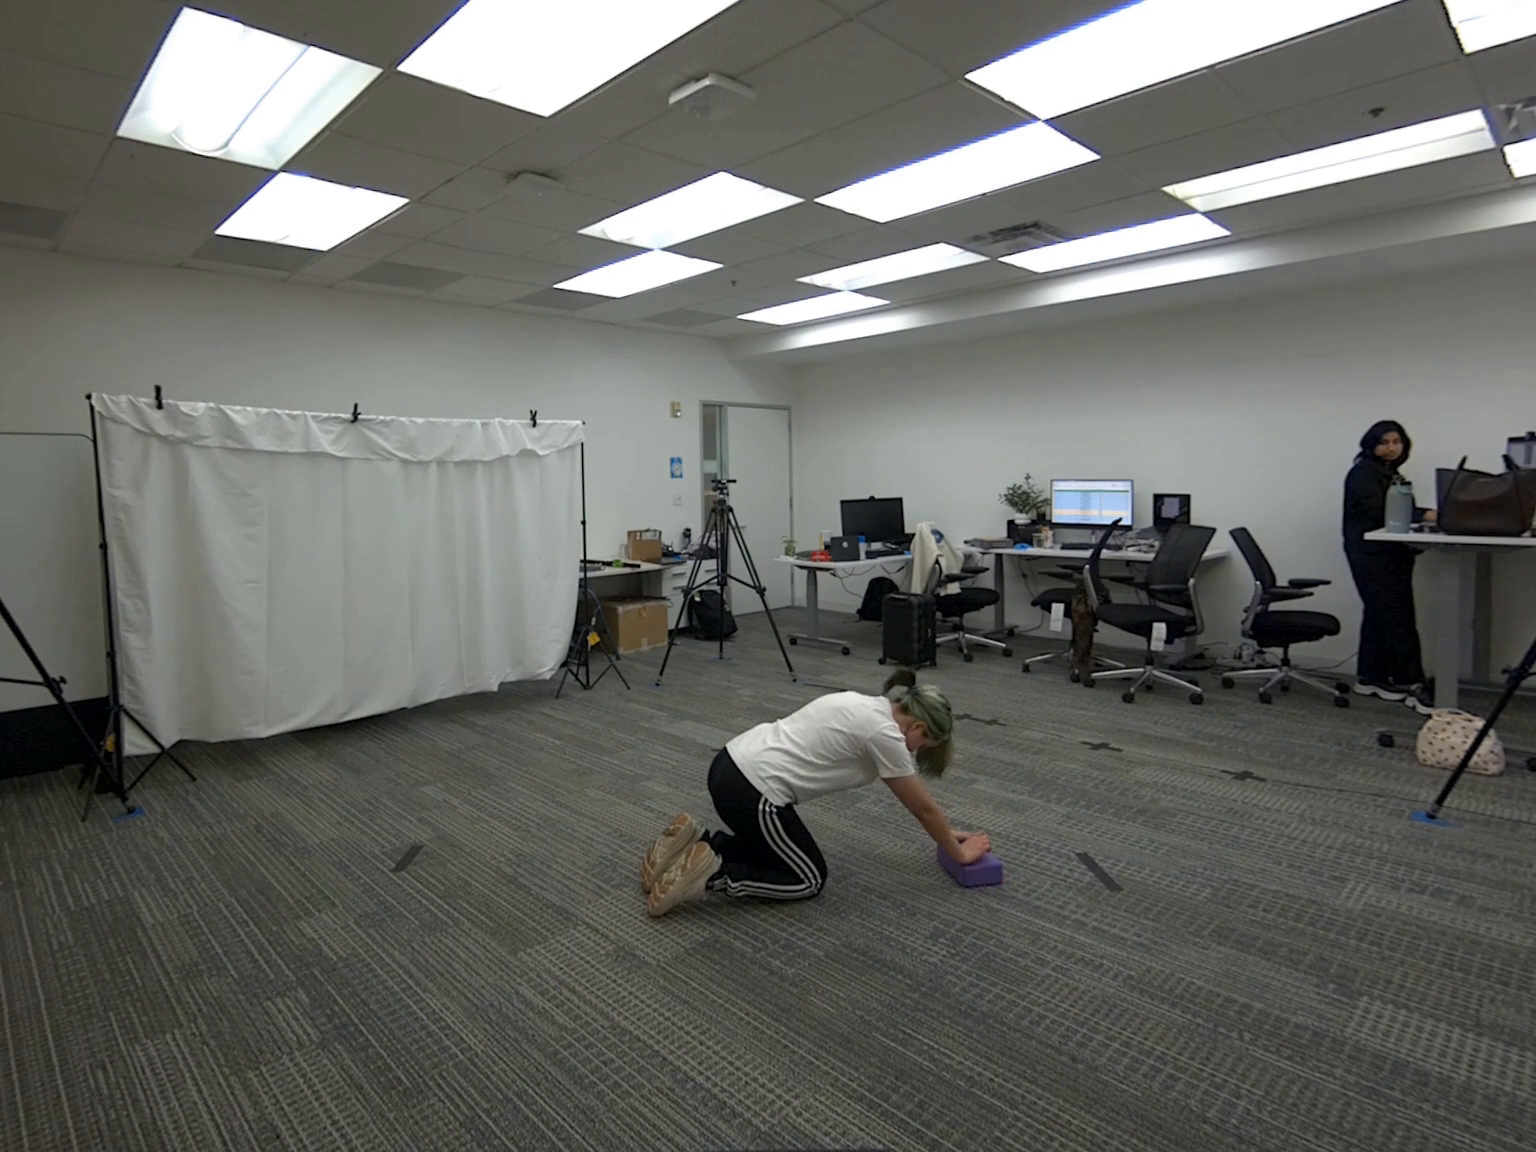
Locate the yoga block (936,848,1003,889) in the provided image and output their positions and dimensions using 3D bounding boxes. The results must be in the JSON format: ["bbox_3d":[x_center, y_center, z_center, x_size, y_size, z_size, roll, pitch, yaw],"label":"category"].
[{"bbox_3d":[0.704,1.001,3.008,0.148,0.076,0.232,-2,6,-10],"label":"yoga block"}]
